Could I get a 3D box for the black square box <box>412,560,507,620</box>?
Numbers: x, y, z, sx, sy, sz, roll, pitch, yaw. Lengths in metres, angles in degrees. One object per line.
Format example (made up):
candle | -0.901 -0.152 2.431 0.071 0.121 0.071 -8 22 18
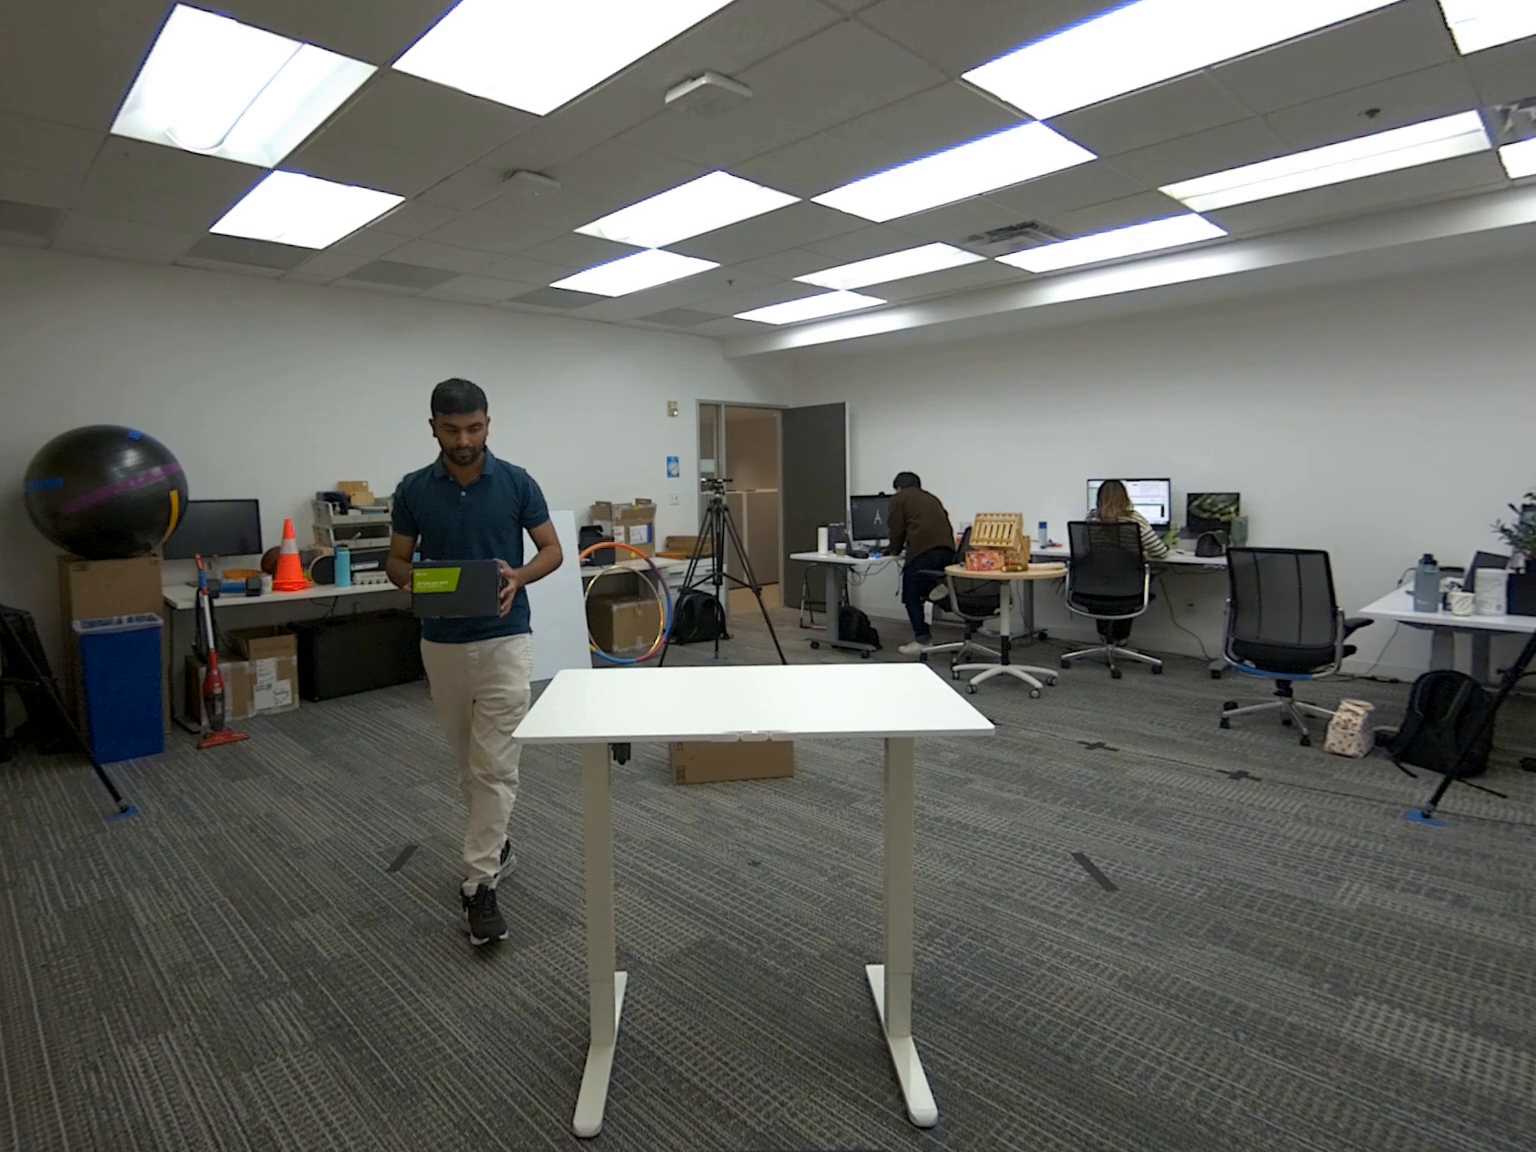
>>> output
black square box | -0.889 0.038 2.461 0.225 0.156 0.218 -1 -3 -11
